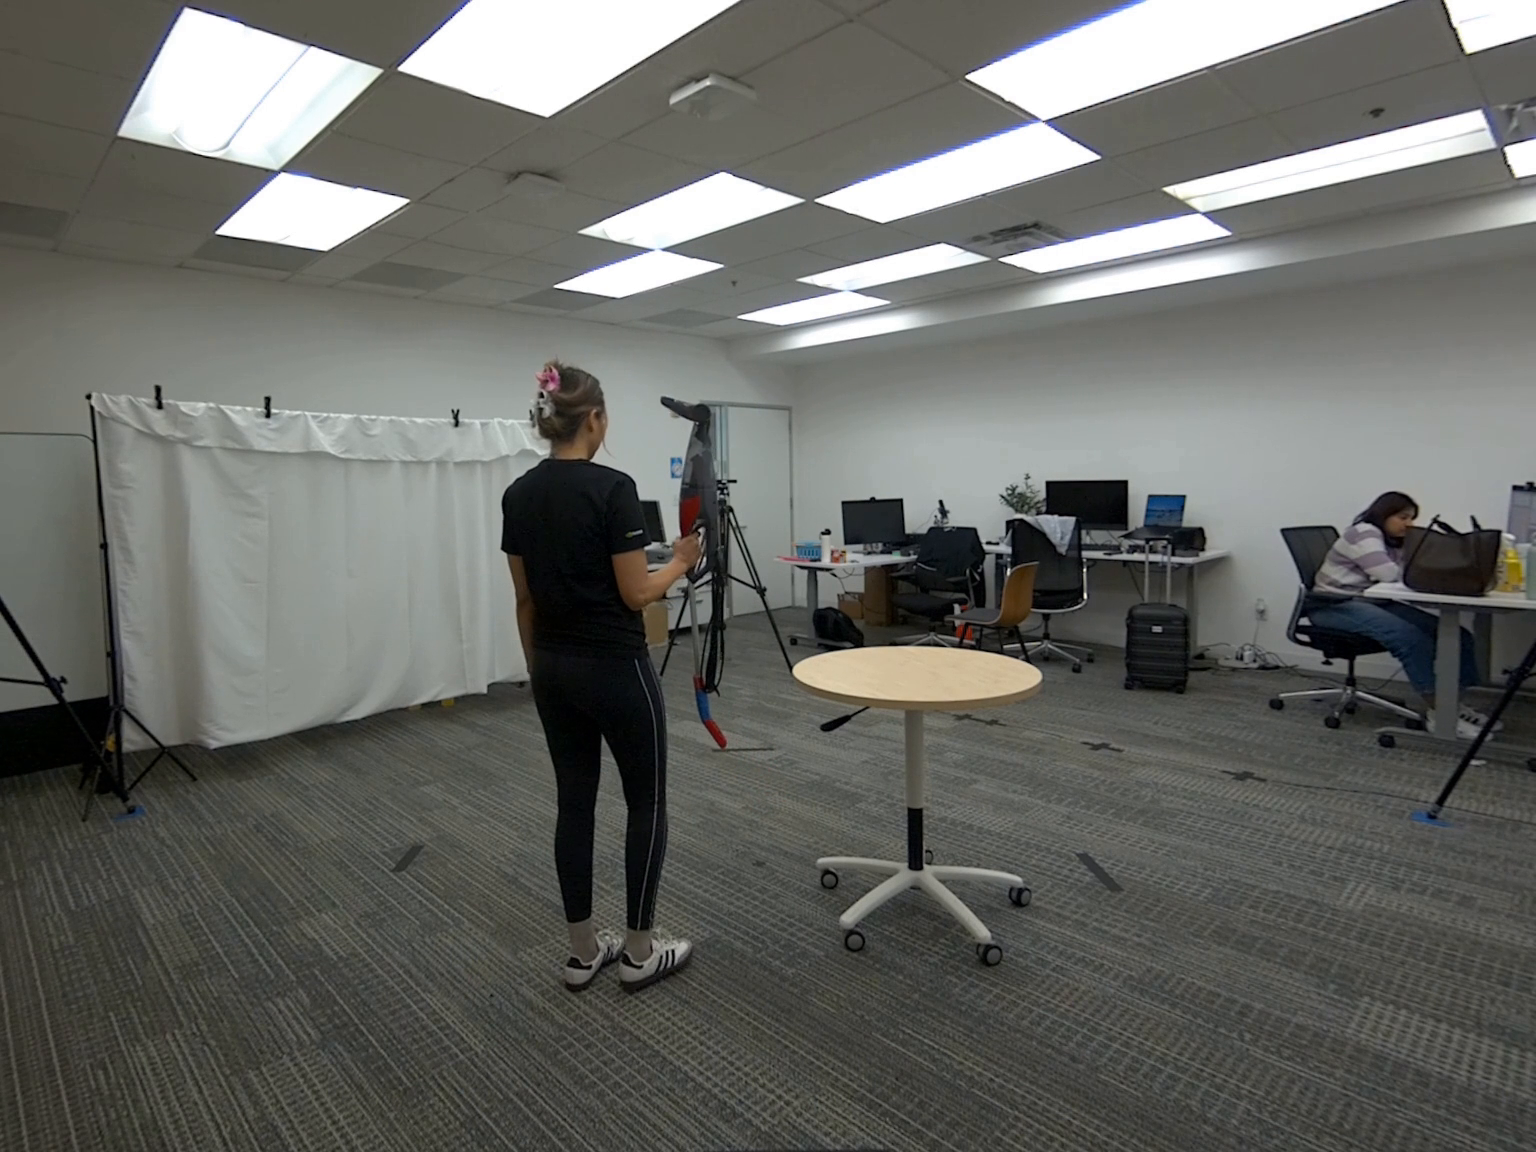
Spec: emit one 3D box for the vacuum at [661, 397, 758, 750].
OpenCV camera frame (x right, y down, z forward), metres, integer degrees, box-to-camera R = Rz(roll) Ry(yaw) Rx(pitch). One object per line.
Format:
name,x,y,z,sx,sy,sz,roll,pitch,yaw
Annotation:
vacuum,-0.181,0.008,2.548,0.144,1.041,0.255,-6,8,-3
